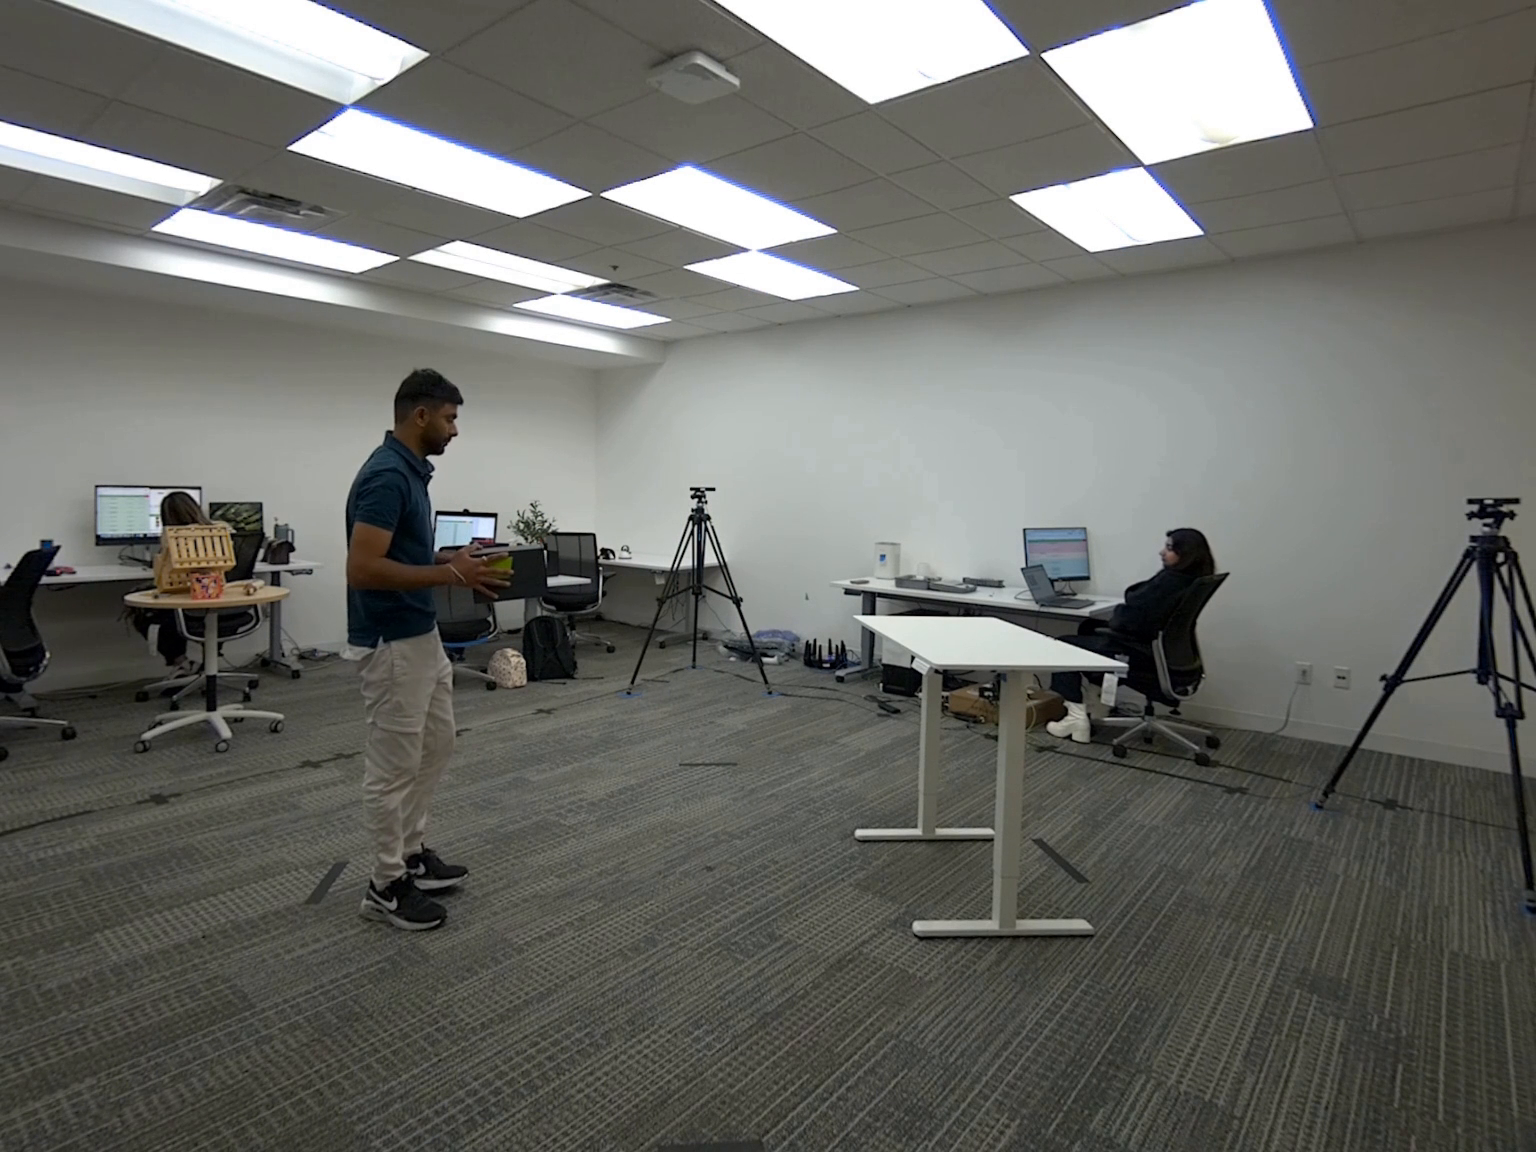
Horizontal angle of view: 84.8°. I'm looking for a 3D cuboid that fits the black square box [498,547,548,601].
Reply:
[{"bbox_3d":[-0.870,-0.020,2.756,0.224,0.155,0.222,-3,9,-15],"label":"black square box"}]
